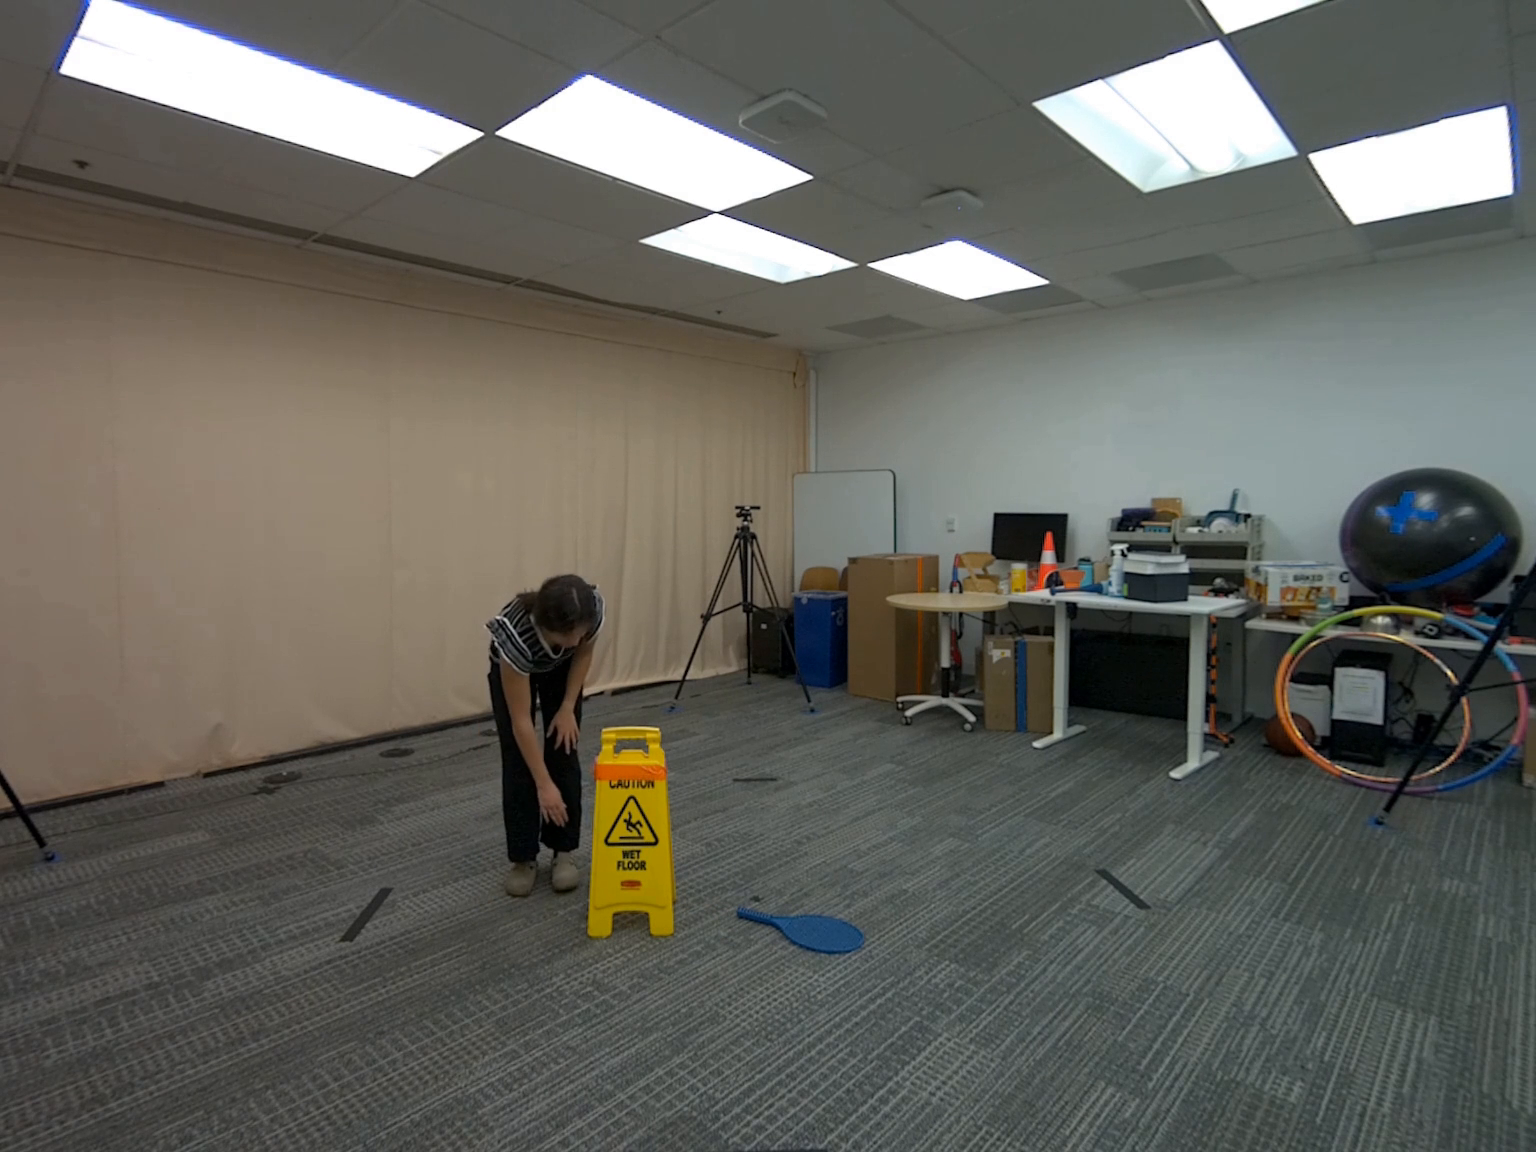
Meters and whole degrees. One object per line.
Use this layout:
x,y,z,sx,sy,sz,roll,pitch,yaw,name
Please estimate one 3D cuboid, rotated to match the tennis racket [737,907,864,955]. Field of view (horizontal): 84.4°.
0.105,1.150,2.759,0.443,0.031,0.209,3,6,22,tennis racket
